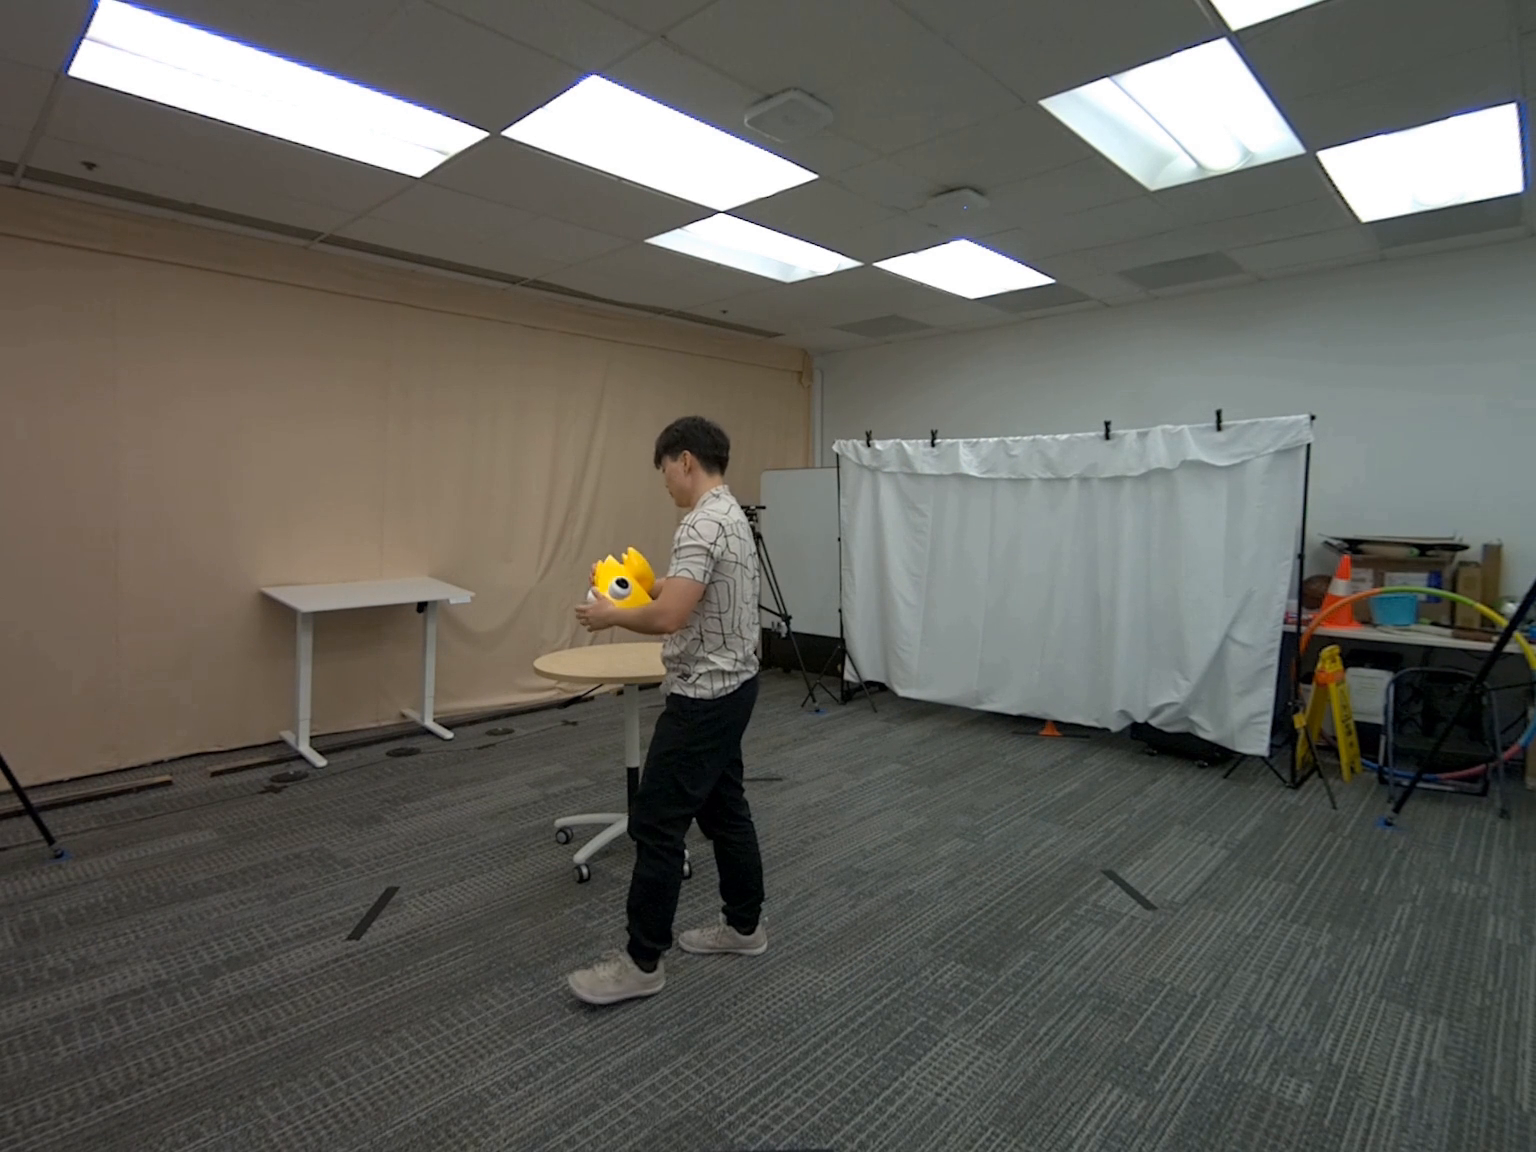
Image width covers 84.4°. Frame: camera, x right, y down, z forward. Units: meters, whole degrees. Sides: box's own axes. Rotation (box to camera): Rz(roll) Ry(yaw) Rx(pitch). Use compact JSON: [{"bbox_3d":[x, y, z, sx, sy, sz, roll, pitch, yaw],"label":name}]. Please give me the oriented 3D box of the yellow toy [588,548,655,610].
[{"bbox_3d":[-0.484,0.051,2.631,0.208,0.191,0.229,-21,11,22],"label":"yellow toy"}]
